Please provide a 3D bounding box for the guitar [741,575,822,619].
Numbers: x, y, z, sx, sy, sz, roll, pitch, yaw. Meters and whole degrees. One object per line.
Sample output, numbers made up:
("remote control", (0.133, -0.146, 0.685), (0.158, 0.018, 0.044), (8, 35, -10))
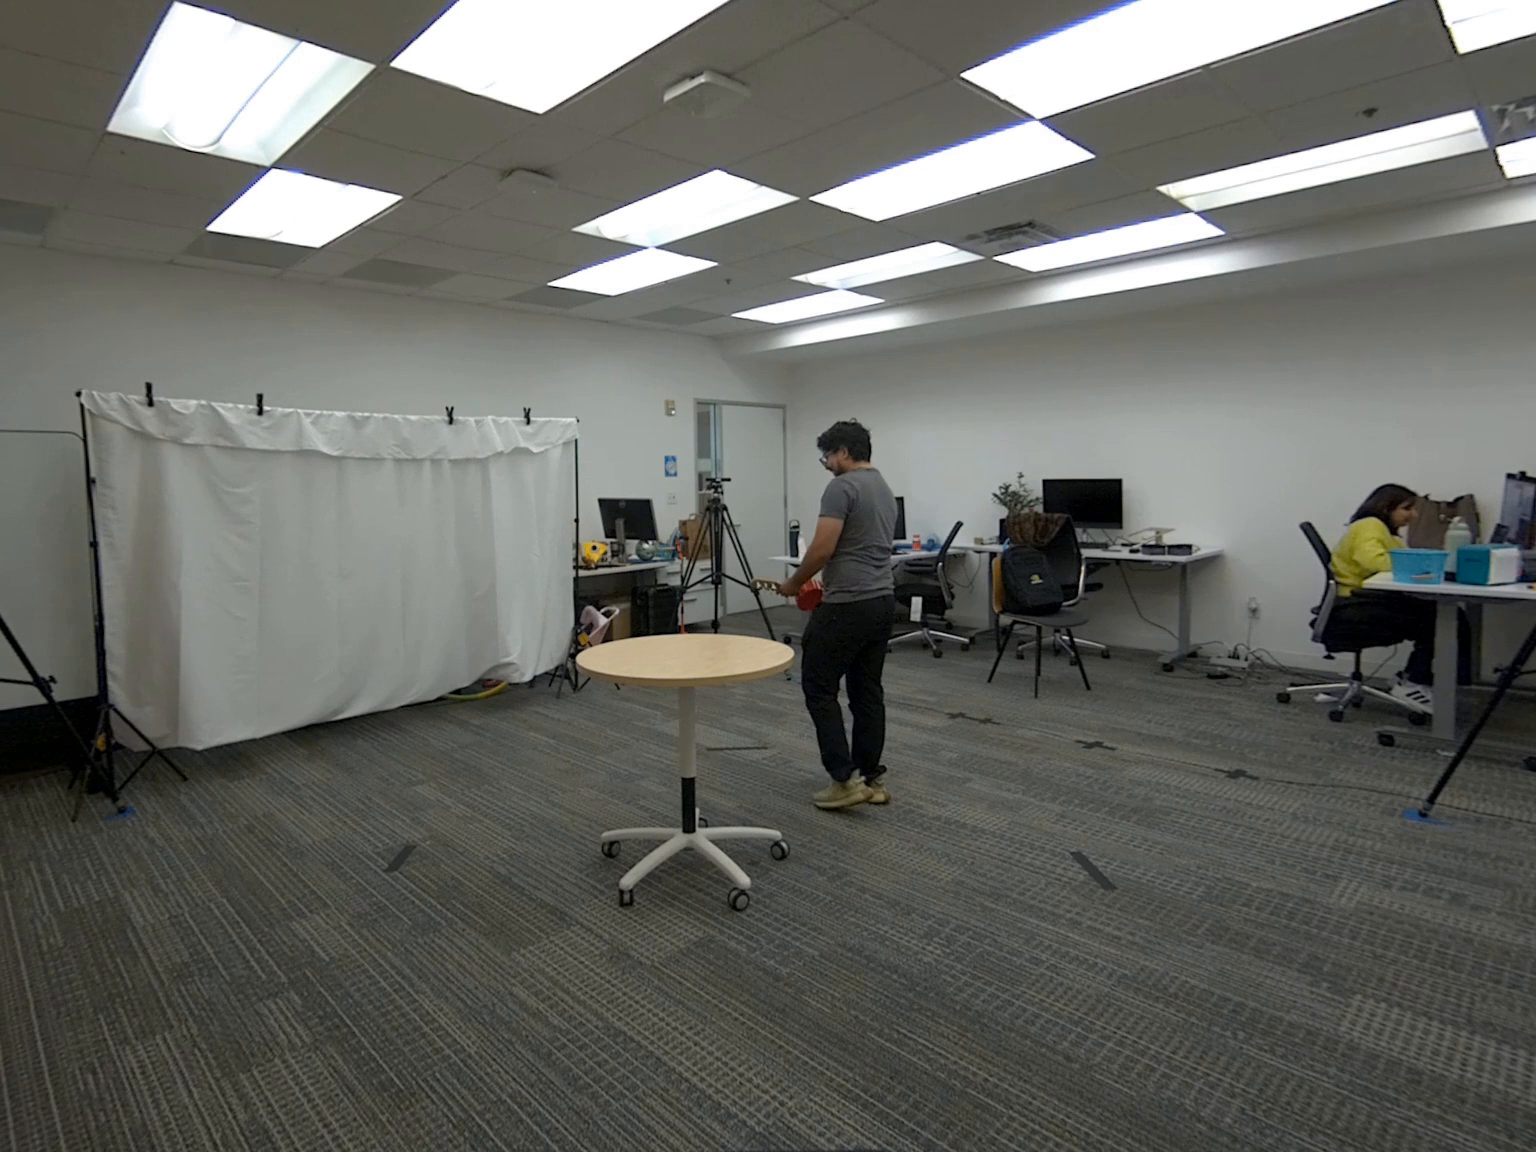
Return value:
("guitar", (0.144, 0.095, 3.831), (0.489, 0.190, 0.073), (1, 45, -18))
